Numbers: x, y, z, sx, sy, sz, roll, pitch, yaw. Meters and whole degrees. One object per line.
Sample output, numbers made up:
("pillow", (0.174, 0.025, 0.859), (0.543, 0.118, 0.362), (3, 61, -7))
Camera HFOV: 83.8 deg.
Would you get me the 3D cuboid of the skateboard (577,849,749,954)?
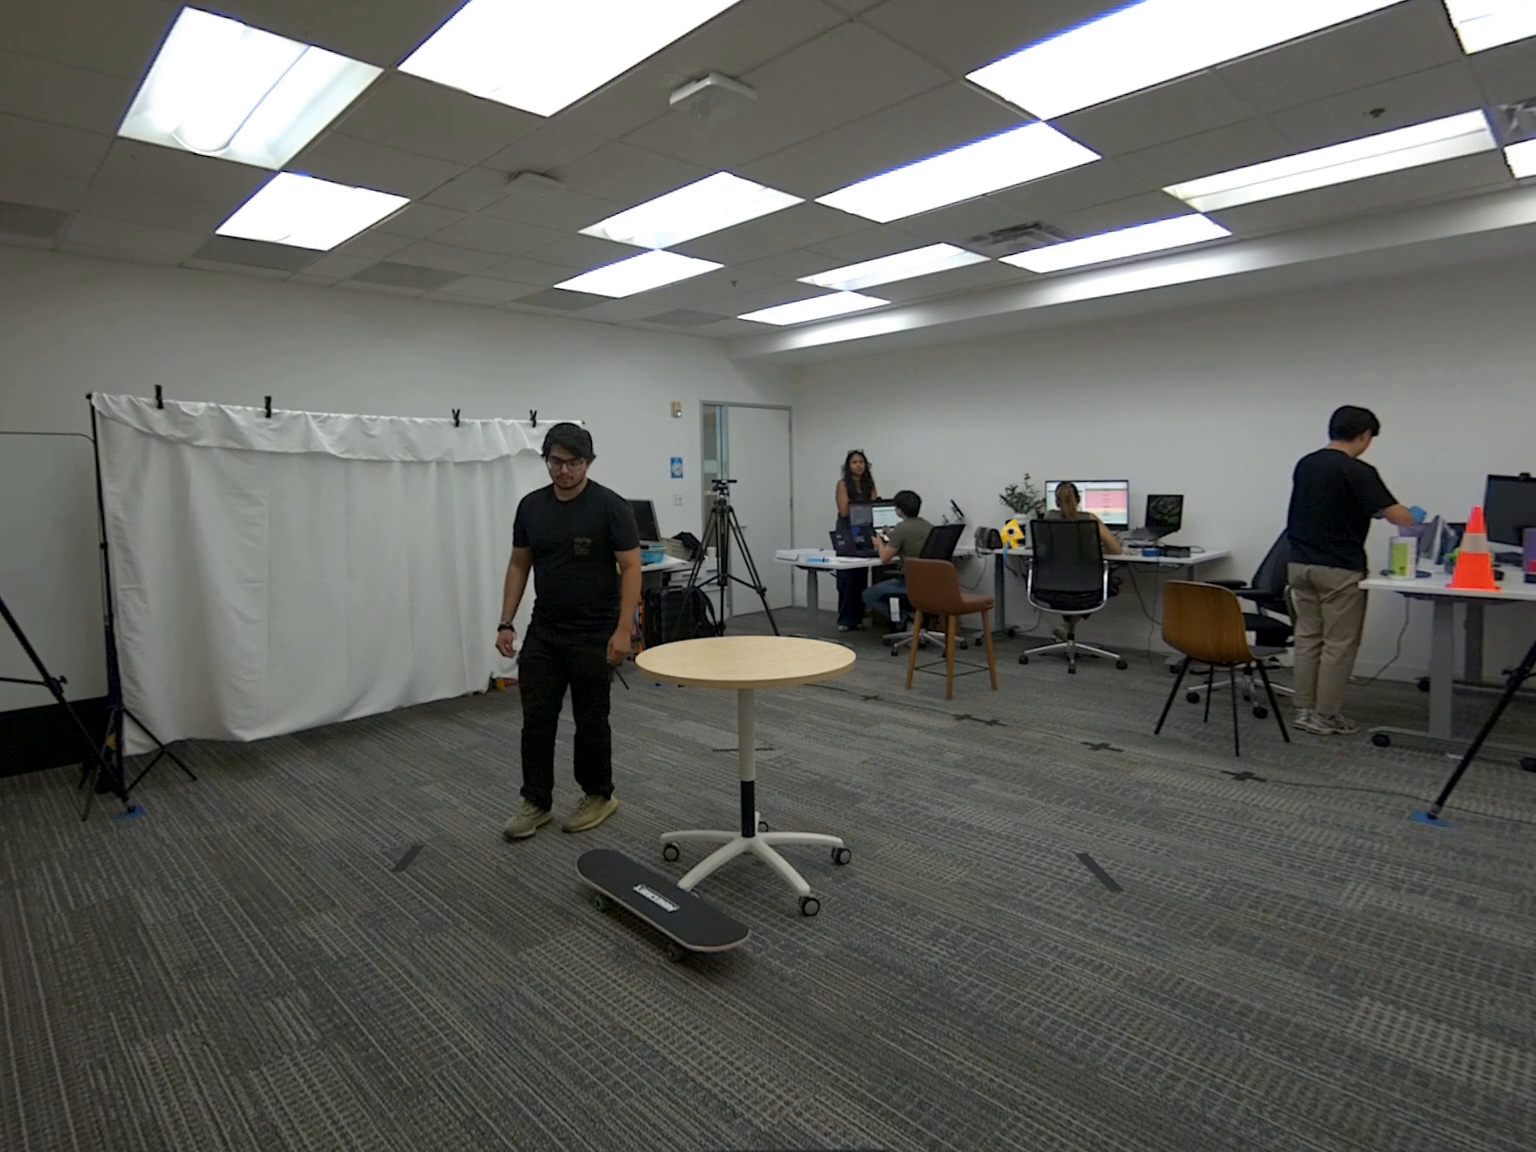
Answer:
("skateboard", (-0.354, 1.046, 2.693), (0.188, 0.110, 0.810), (-7, 9, -42))
